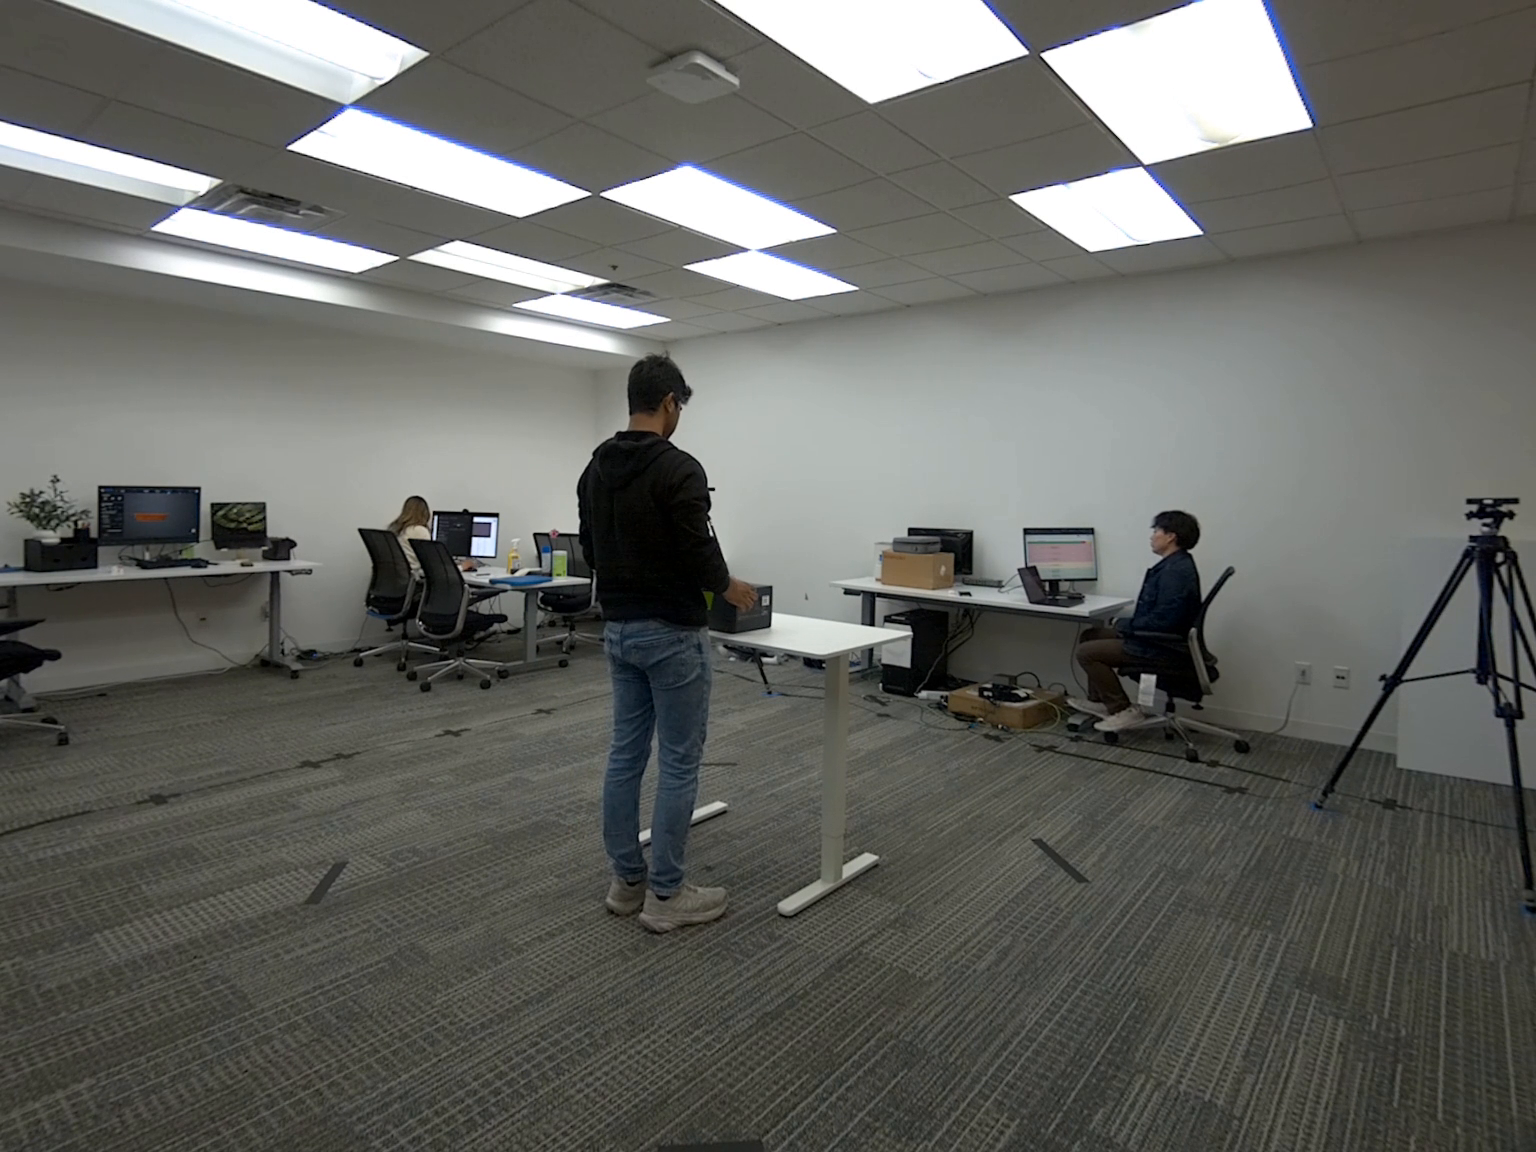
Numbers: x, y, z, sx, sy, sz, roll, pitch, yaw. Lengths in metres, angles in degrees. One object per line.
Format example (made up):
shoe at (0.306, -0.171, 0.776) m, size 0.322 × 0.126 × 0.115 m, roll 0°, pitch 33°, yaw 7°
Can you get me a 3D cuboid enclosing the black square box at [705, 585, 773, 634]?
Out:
black square box at (-0.145, 0.104, 3.118) m, size 0.235 × 0.155 × 0.211 m, roll 5°, pitch 6°, yaw 39°
